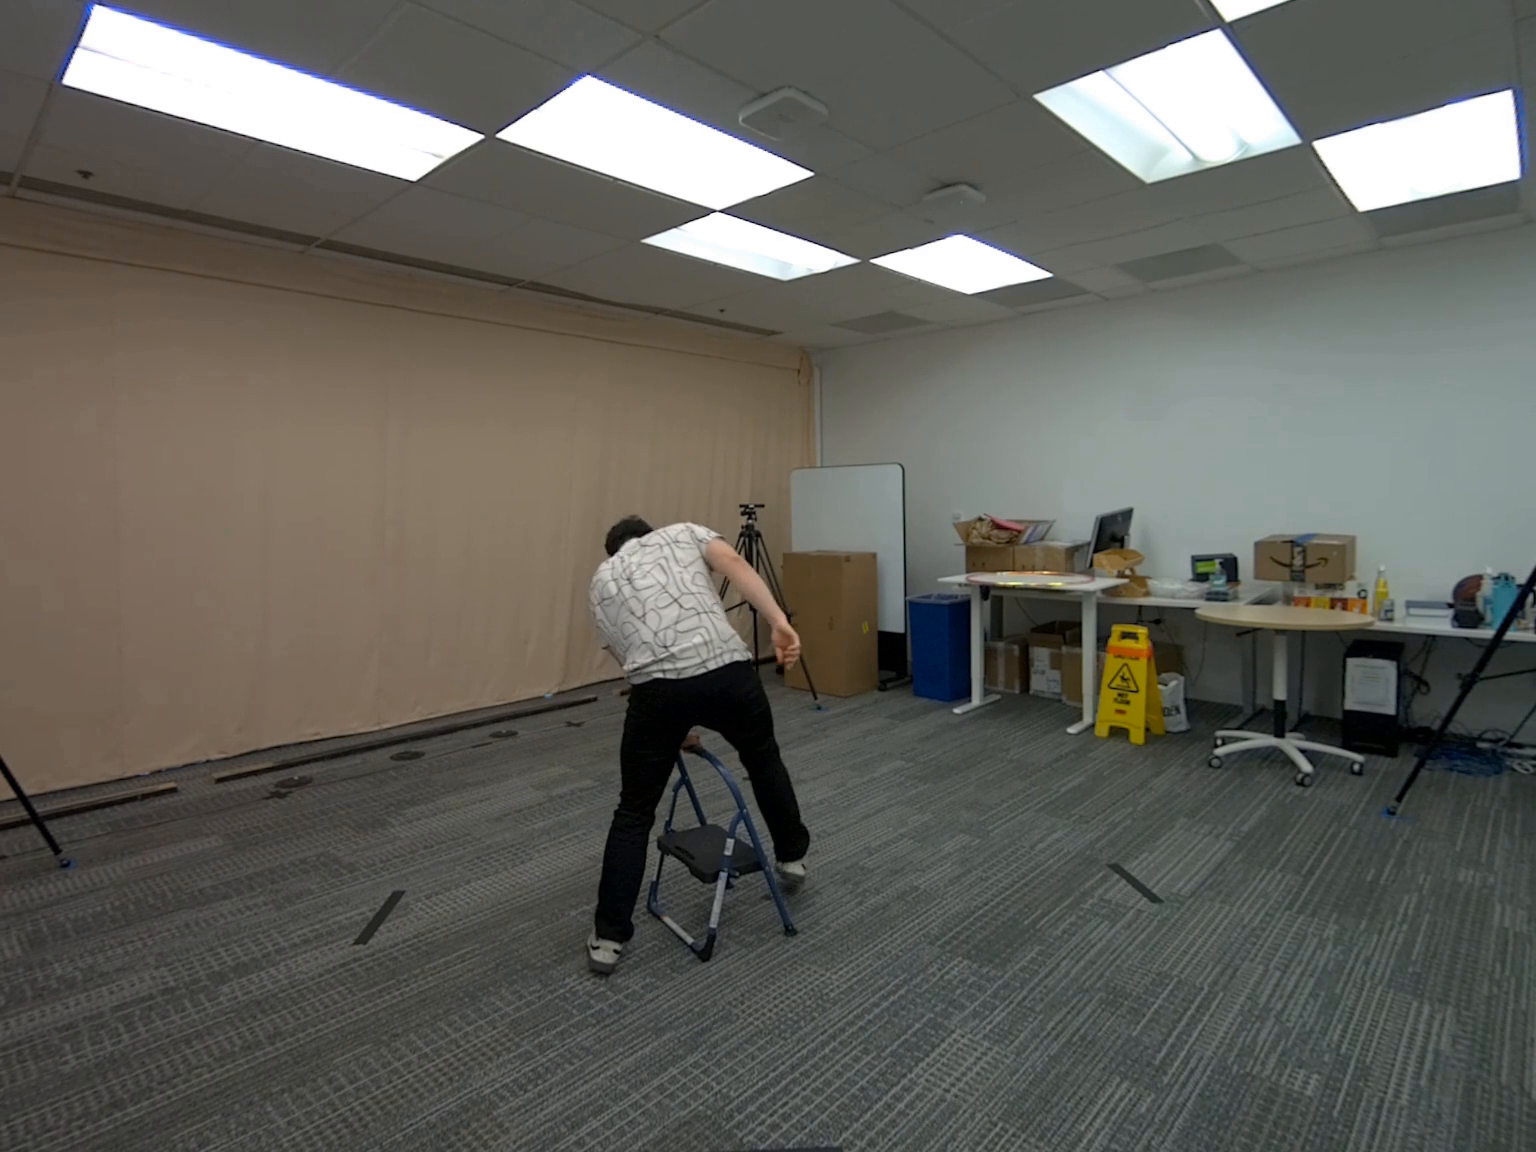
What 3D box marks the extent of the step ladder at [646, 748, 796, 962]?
[{"bbox_3d":[-0.166,0.853,2.806,0.339,0.604,0.444,-3,5,-33],"label":"step ladder"}]
